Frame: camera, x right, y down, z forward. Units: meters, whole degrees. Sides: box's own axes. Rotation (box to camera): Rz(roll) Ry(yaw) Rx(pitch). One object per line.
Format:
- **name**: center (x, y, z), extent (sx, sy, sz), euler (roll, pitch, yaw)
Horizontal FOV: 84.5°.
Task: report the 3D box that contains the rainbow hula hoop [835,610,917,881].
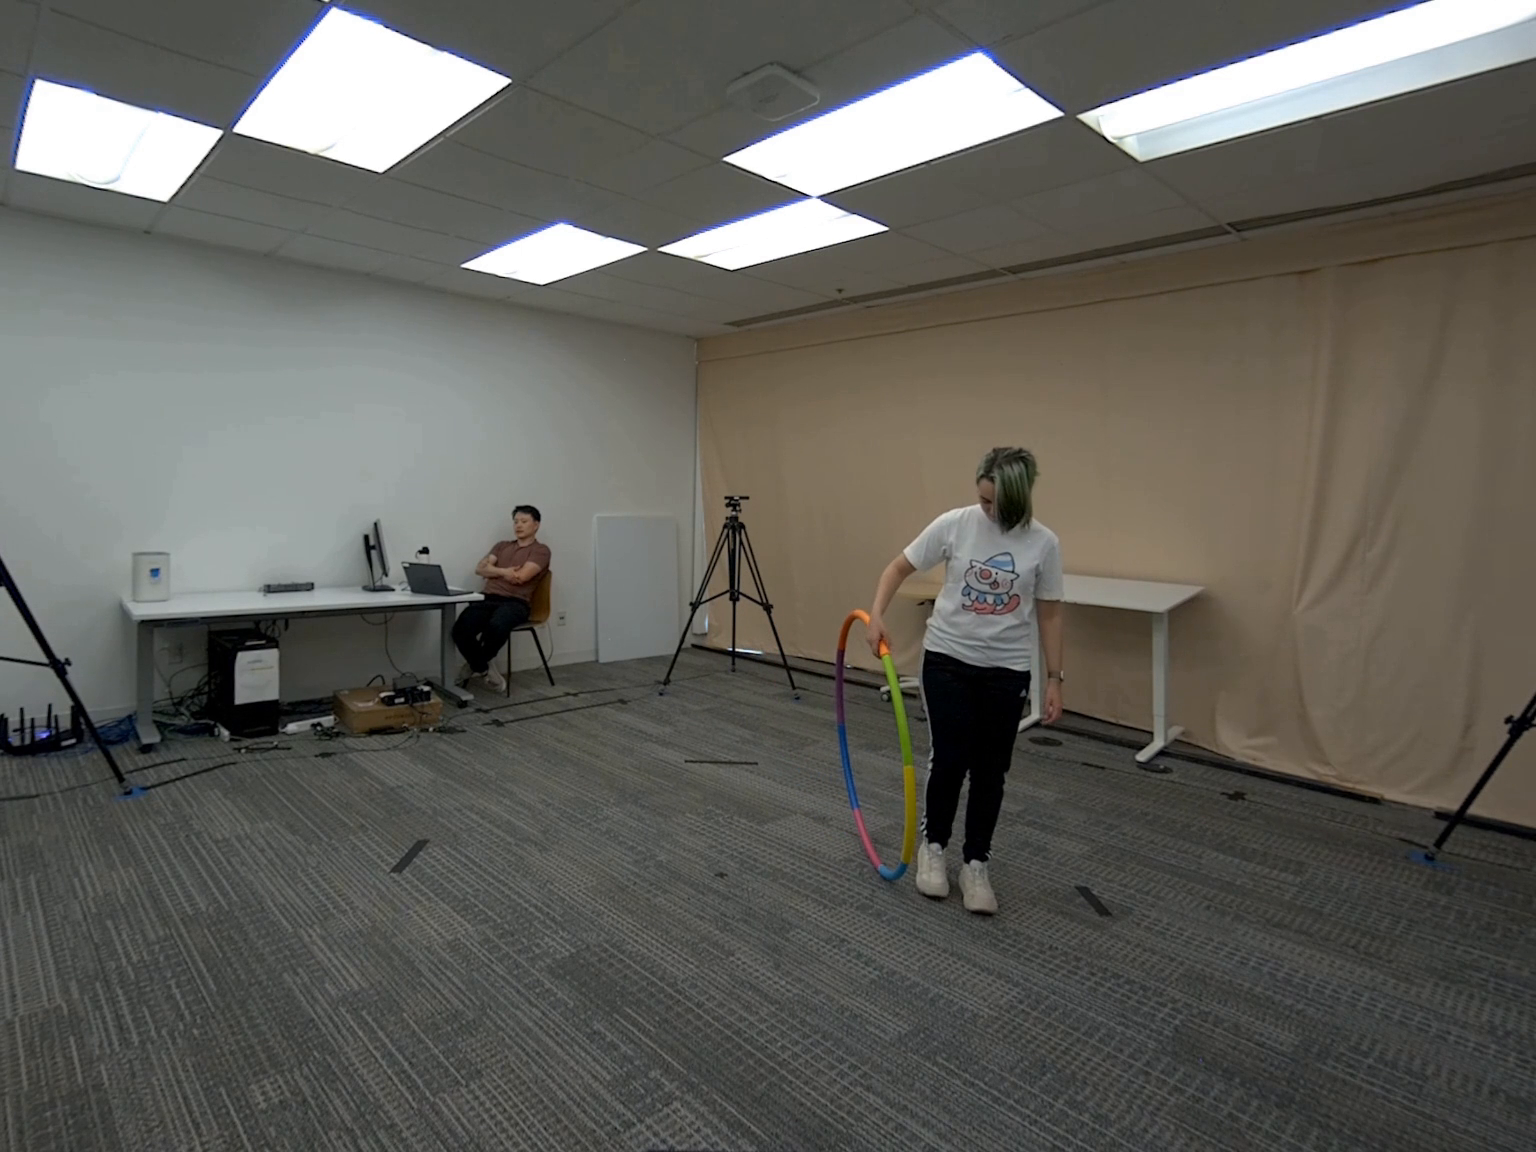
- **rainbow hula hoop**: center (0.378, 0.621, 3.179), extent (0.035, 0.975, 0.987), euler (-6, 5, -8)
